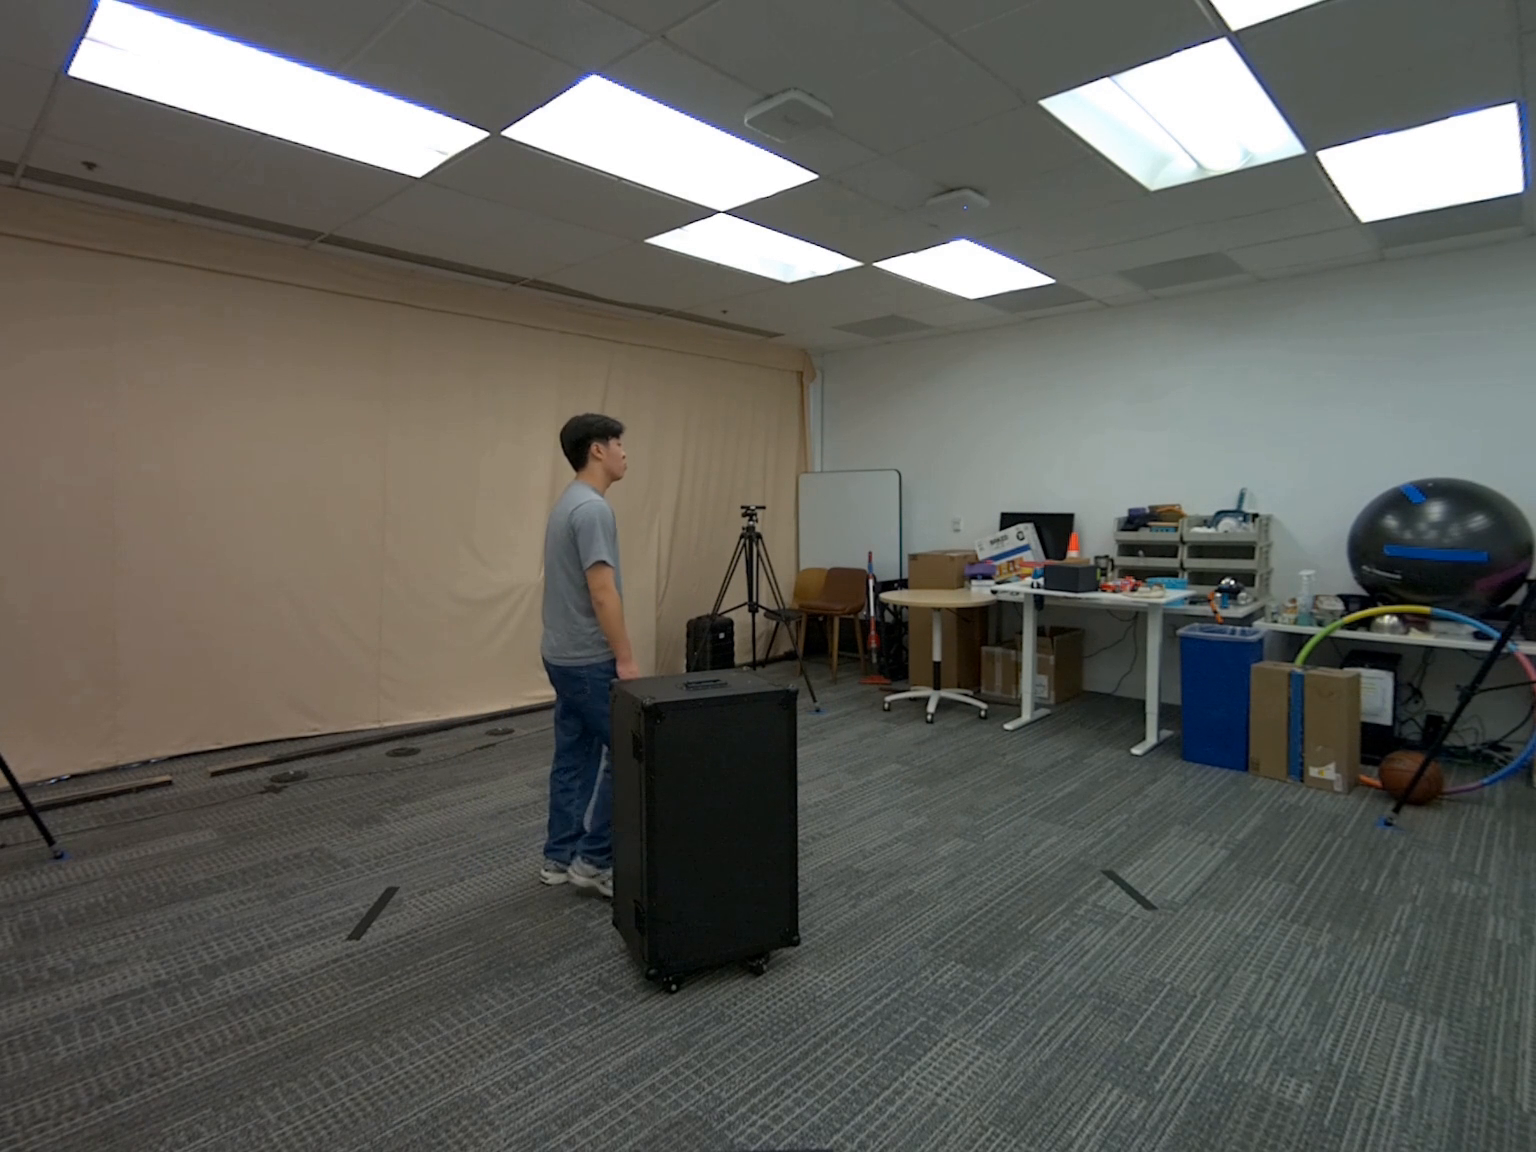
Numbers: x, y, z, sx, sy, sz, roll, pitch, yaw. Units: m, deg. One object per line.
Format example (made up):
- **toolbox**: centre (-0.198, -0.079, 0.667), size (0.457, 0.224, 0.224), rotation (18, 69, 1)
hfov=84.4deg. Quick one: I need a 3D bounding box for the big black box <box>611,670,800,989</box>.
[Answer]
- **big black box**: centre (-0.205, 0.751, 2.589), size (0.509, 0.860, 0.406), rotation (-2, 2, -24)
